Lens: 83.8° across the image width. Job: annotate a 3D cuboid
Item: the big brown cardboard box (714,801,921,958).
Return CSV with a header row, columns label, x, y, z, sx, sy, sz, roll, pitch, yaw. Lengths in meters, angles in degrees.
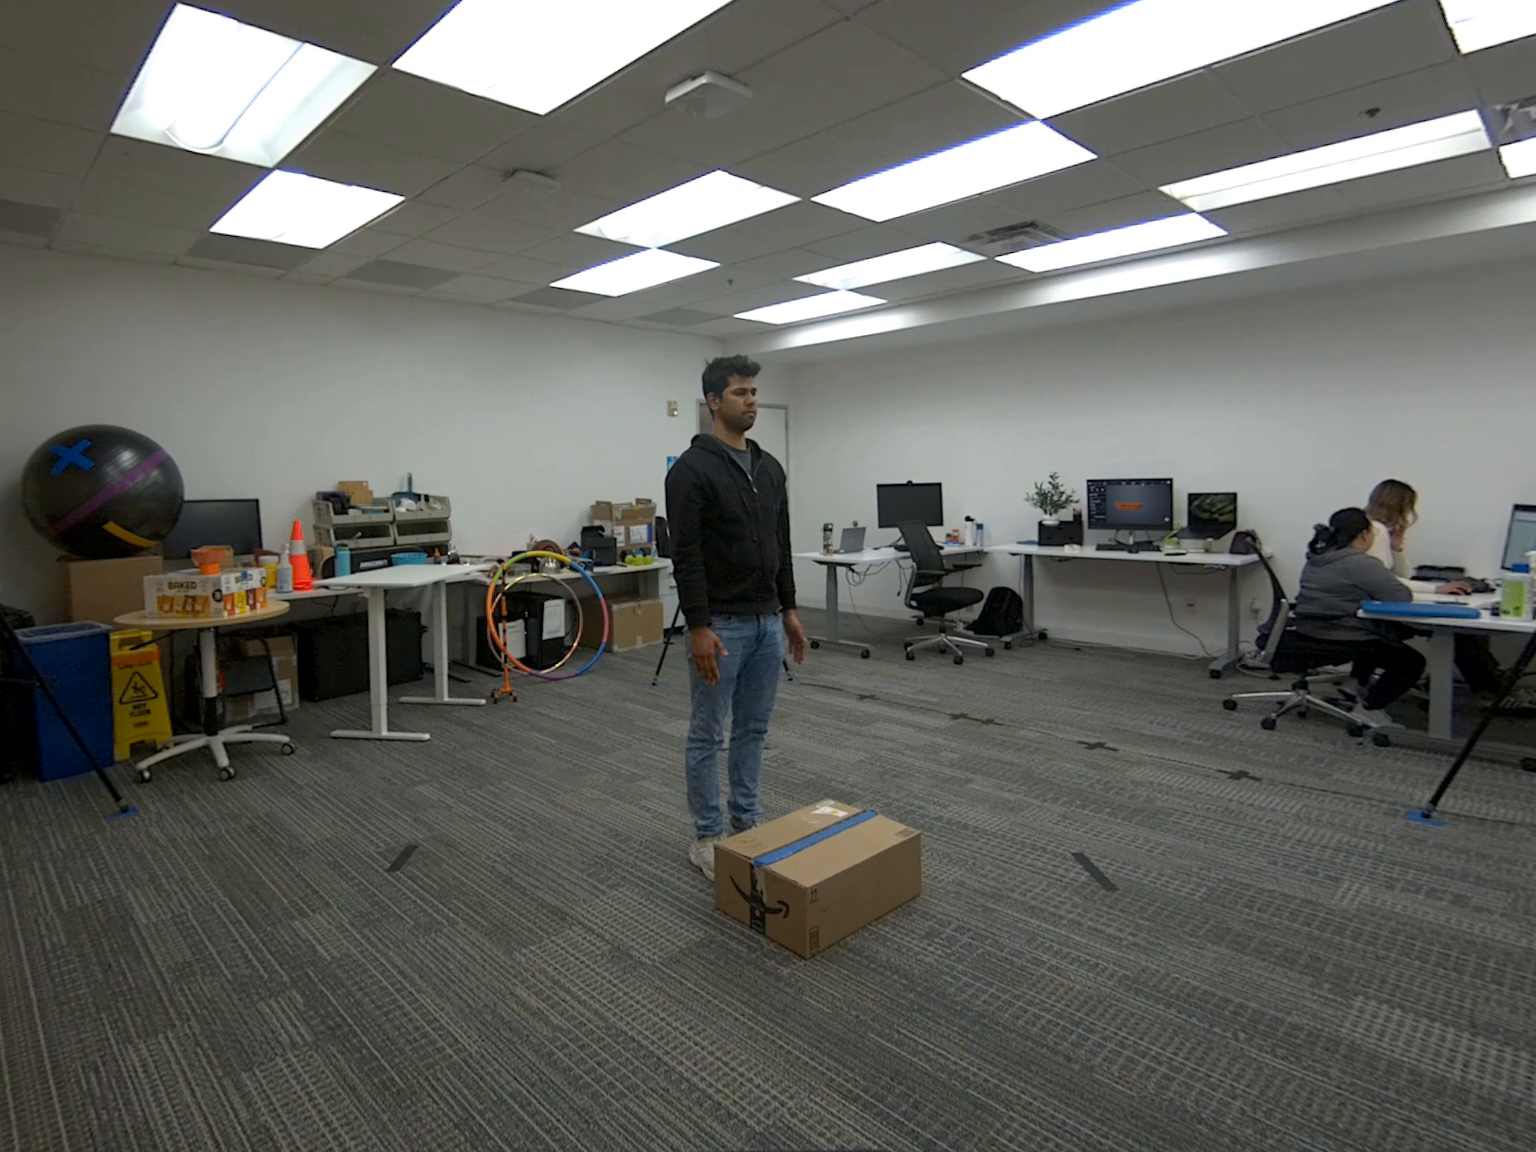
label,x,y,z,sx,sy,sz,roll,pitch,yaw
big brown cardboard box,0.169,0.962,2.813,0.574,0.232,0.430,-8,9,-43
